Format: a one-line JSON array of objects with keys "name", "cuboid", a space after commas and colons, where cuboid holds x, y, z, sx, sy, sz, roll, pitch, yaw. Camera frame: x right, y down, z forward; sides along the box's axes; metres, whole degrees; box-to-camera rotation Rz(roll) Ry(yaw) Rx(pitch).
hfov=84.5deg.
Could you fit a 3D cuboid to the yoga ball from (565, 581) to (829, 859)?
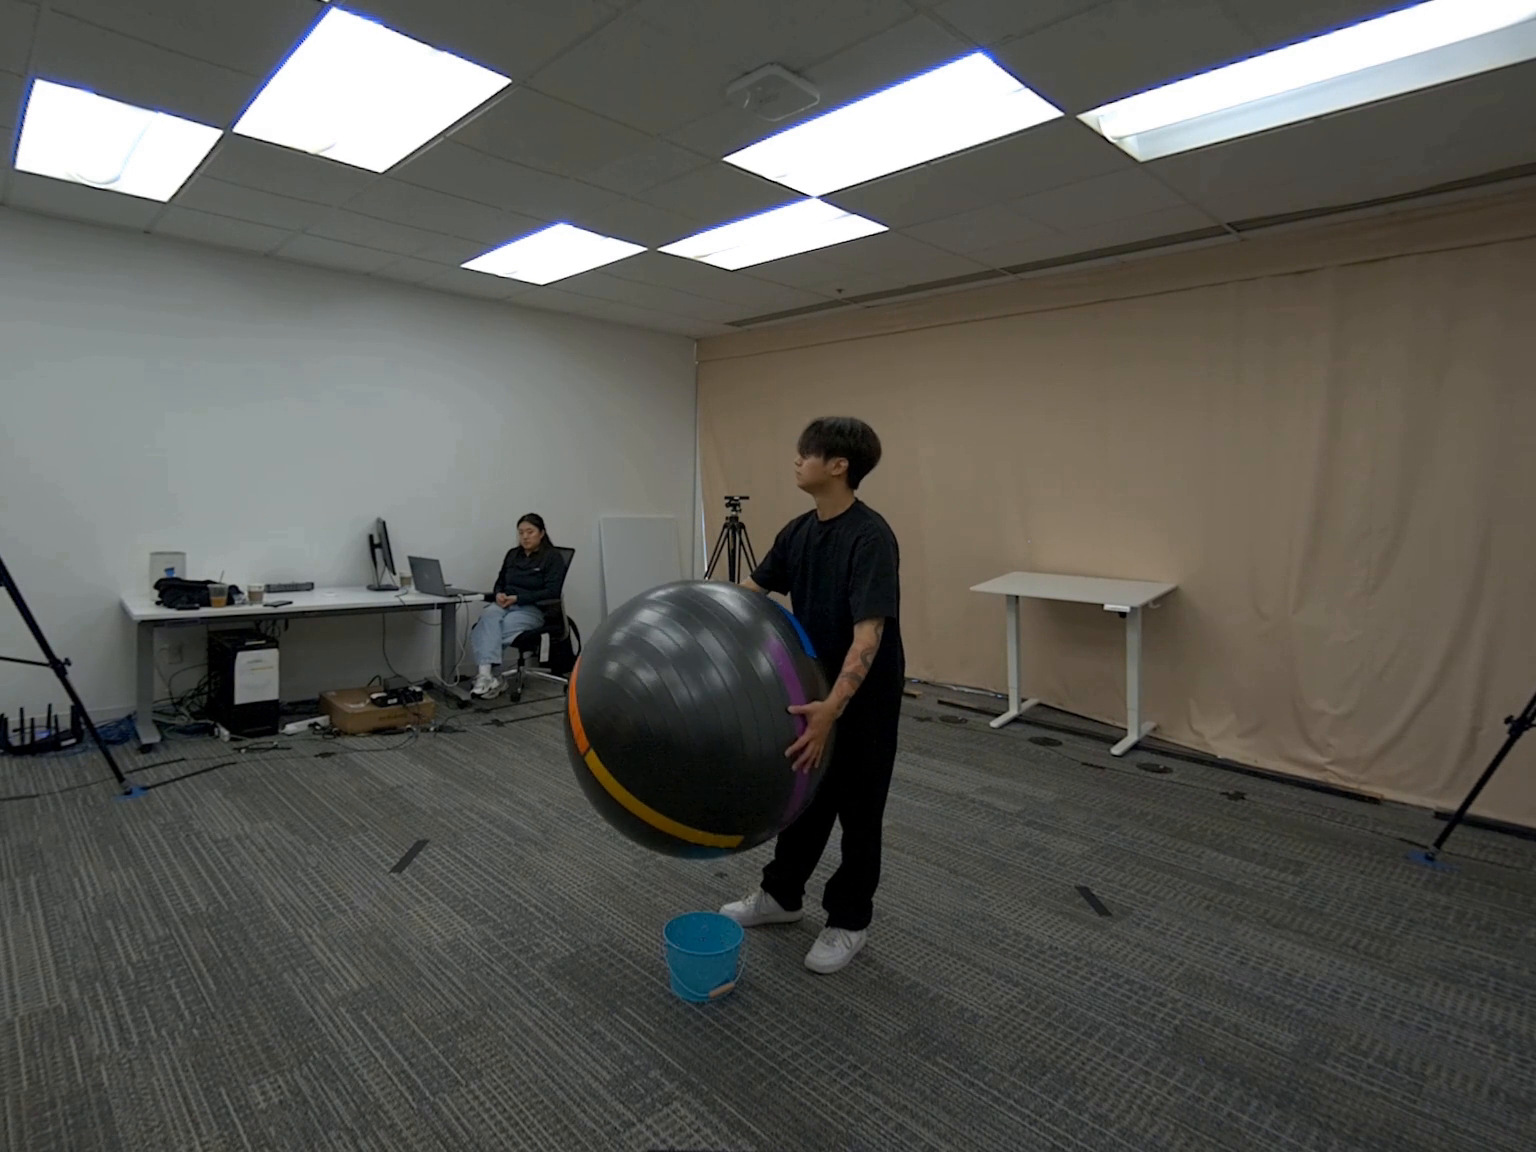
[{"name": "yoga ball", "cuboid": [-0.195, 0.389, 2.354, 0.757, 0.756, 0.761, 1, 4, -1]}]
